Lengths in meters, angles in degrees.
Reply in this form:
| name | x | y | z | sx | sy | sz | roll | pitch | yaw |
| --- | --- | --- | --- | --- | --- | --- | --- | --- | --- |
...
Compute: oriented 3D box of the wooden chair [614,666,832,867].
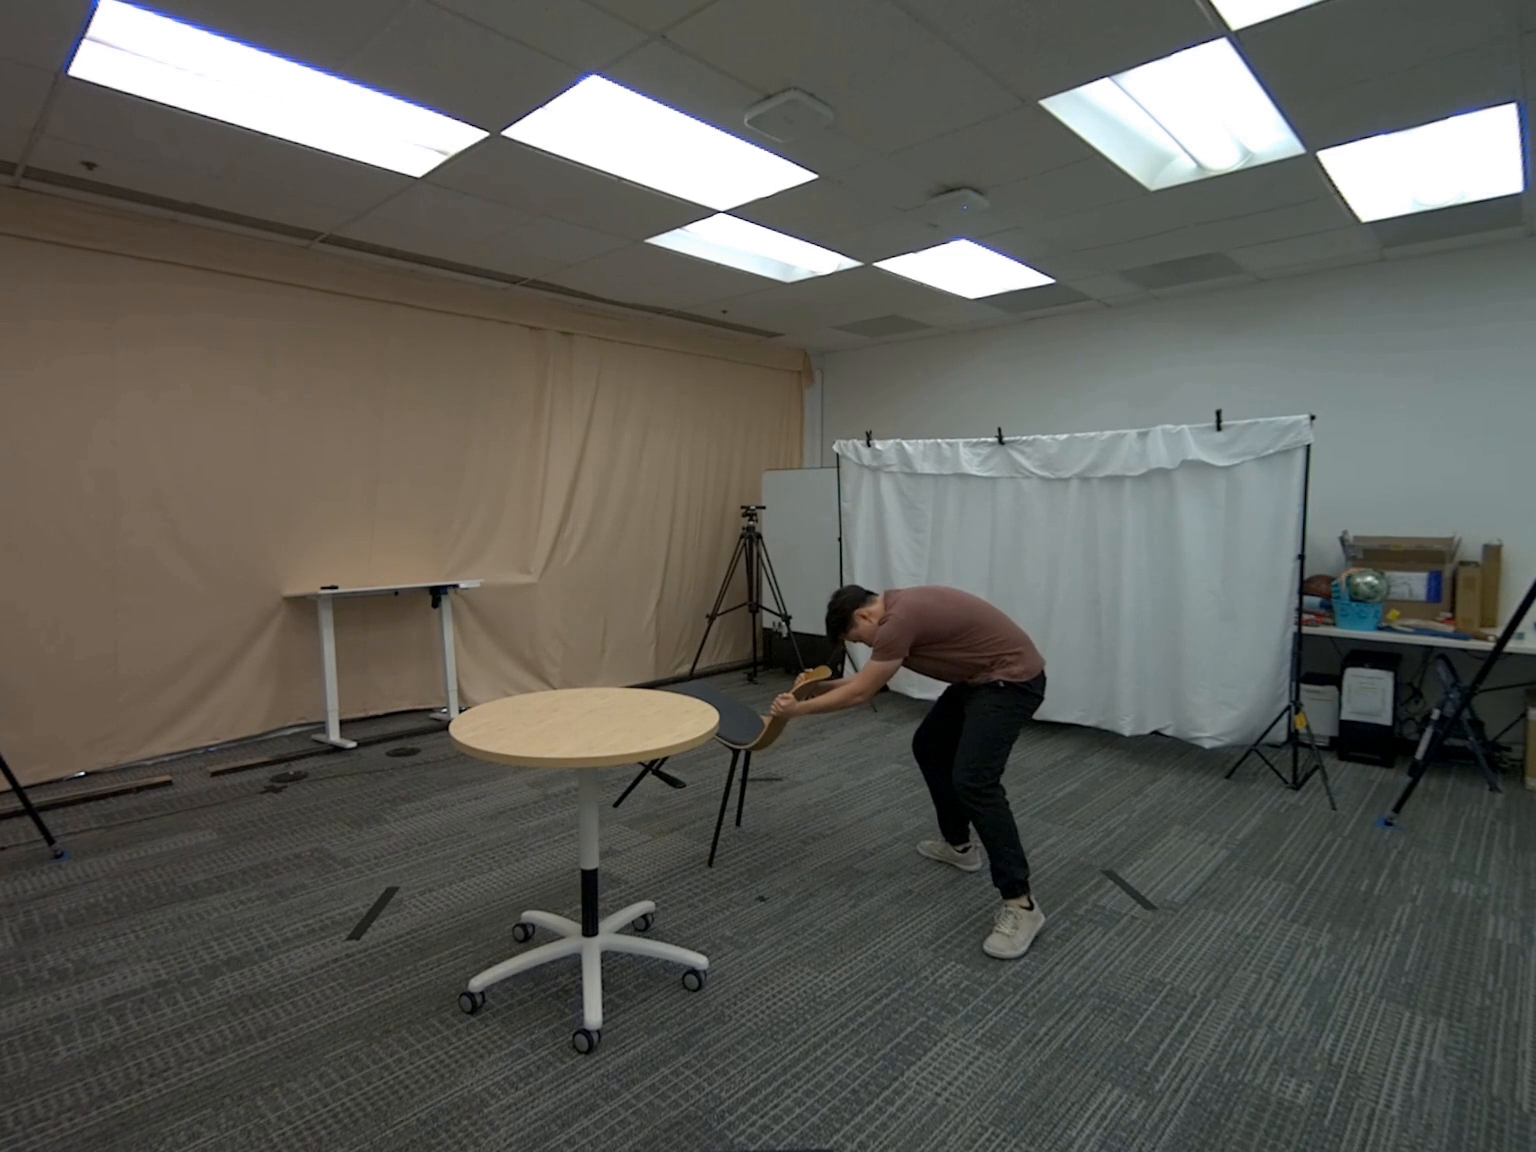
| name | x | y | z | sx | sy | sz | roll | pitch | yaw |
| --- | --- | --- | --- | --- | --- | --- | --- | --- | --- |
| wooden chair | -0.189 | 0.627 | 3.438 | 0.532 | 0.877 | 0.471 | 32 | 11 | 12 |
